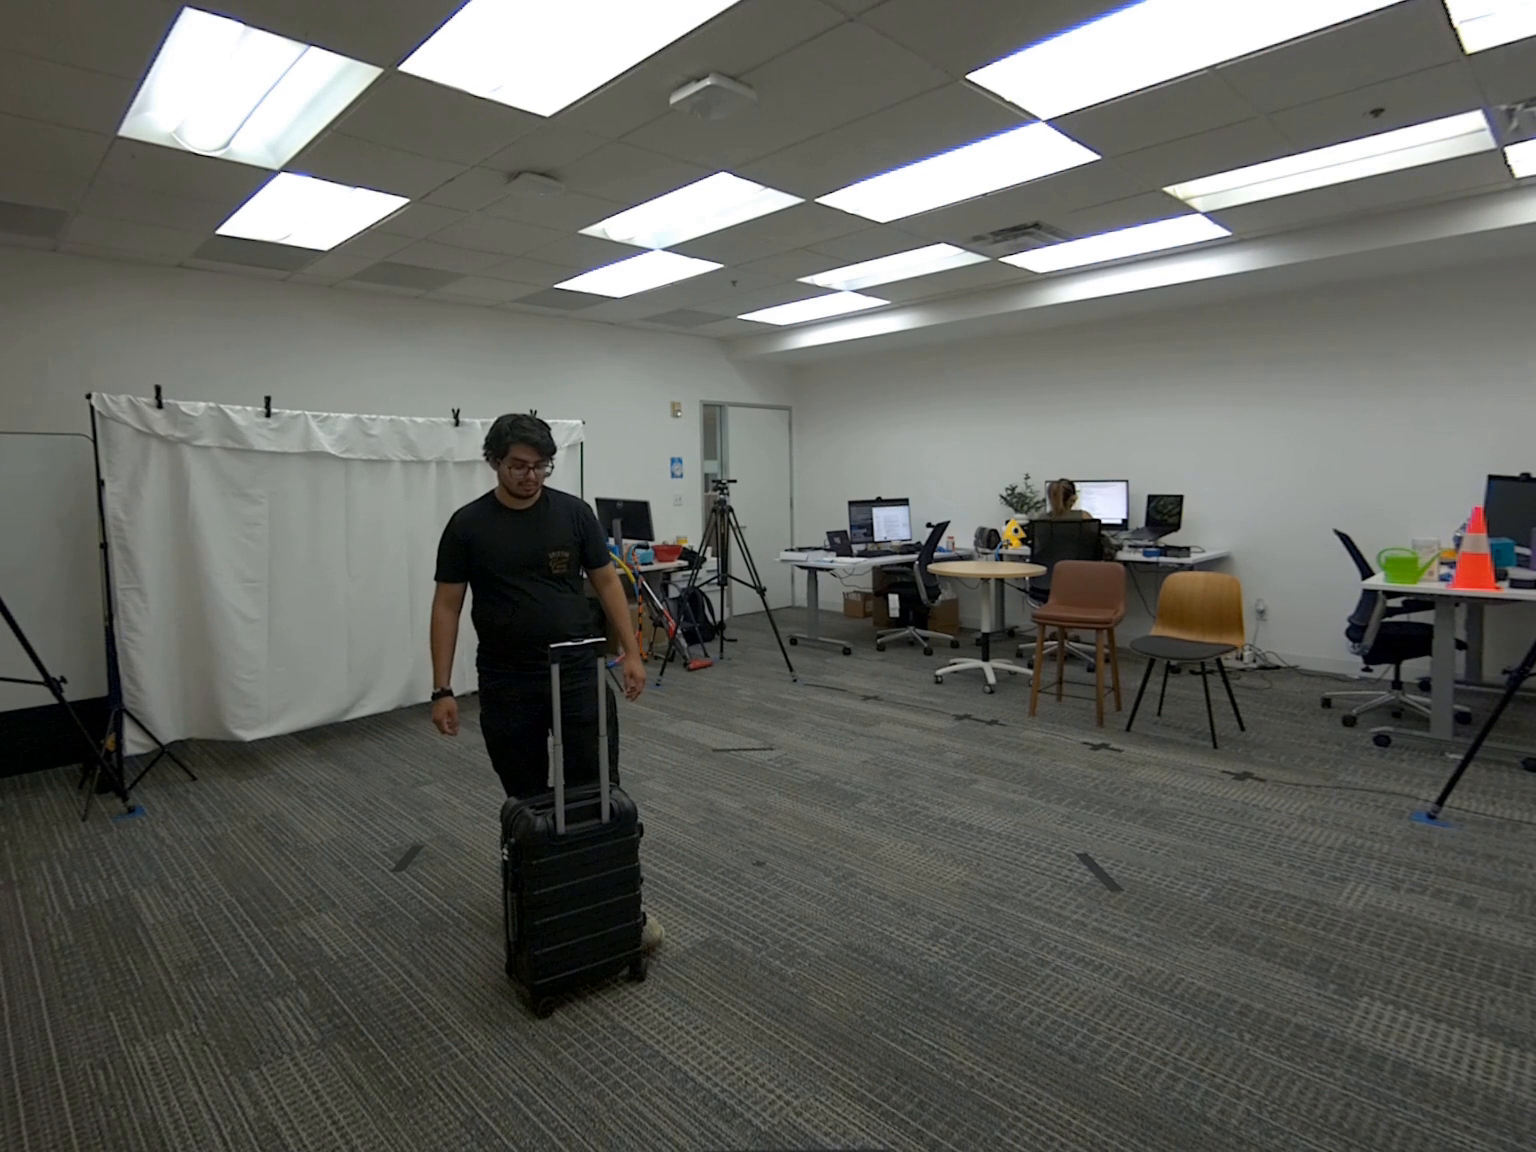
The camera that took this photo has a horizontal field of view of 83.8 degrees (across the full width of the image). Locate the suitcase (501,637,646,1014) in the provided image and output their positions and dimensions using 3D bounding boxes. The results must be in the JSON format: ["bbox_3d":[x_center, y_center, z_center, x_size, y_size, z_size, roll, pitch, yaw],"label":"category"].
[{"bbox_3d":[-0.549,0.663,2.369,0.374,0.977,0.264,-3,2,-35],"label":"suitcase"}]
